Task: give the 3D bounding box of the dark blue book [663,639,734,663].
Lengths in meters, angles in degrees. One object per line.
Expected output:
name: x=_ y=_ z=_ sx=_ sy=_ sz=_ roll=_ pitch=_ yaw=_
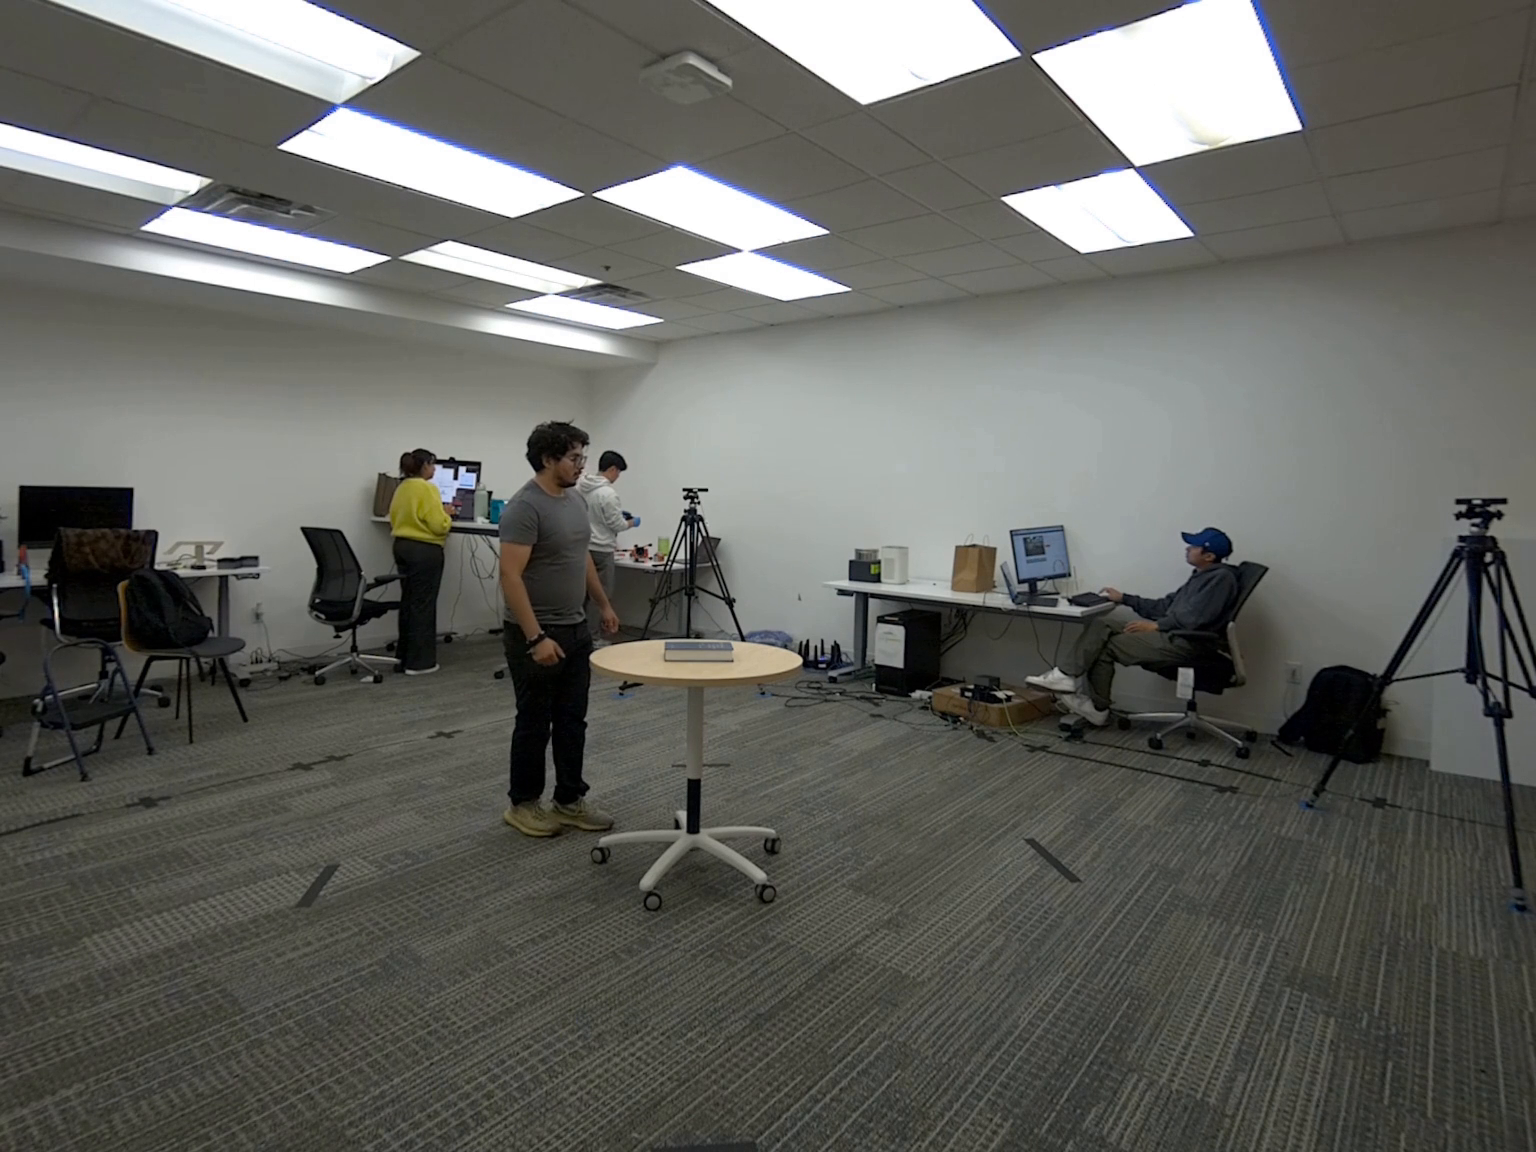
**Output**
dark blue book: x=-0.261 y=0.270 z=3.065 sx=0.244 sy=0.045 sz=0.165 roll=0 pitch=6 yaw=-5
